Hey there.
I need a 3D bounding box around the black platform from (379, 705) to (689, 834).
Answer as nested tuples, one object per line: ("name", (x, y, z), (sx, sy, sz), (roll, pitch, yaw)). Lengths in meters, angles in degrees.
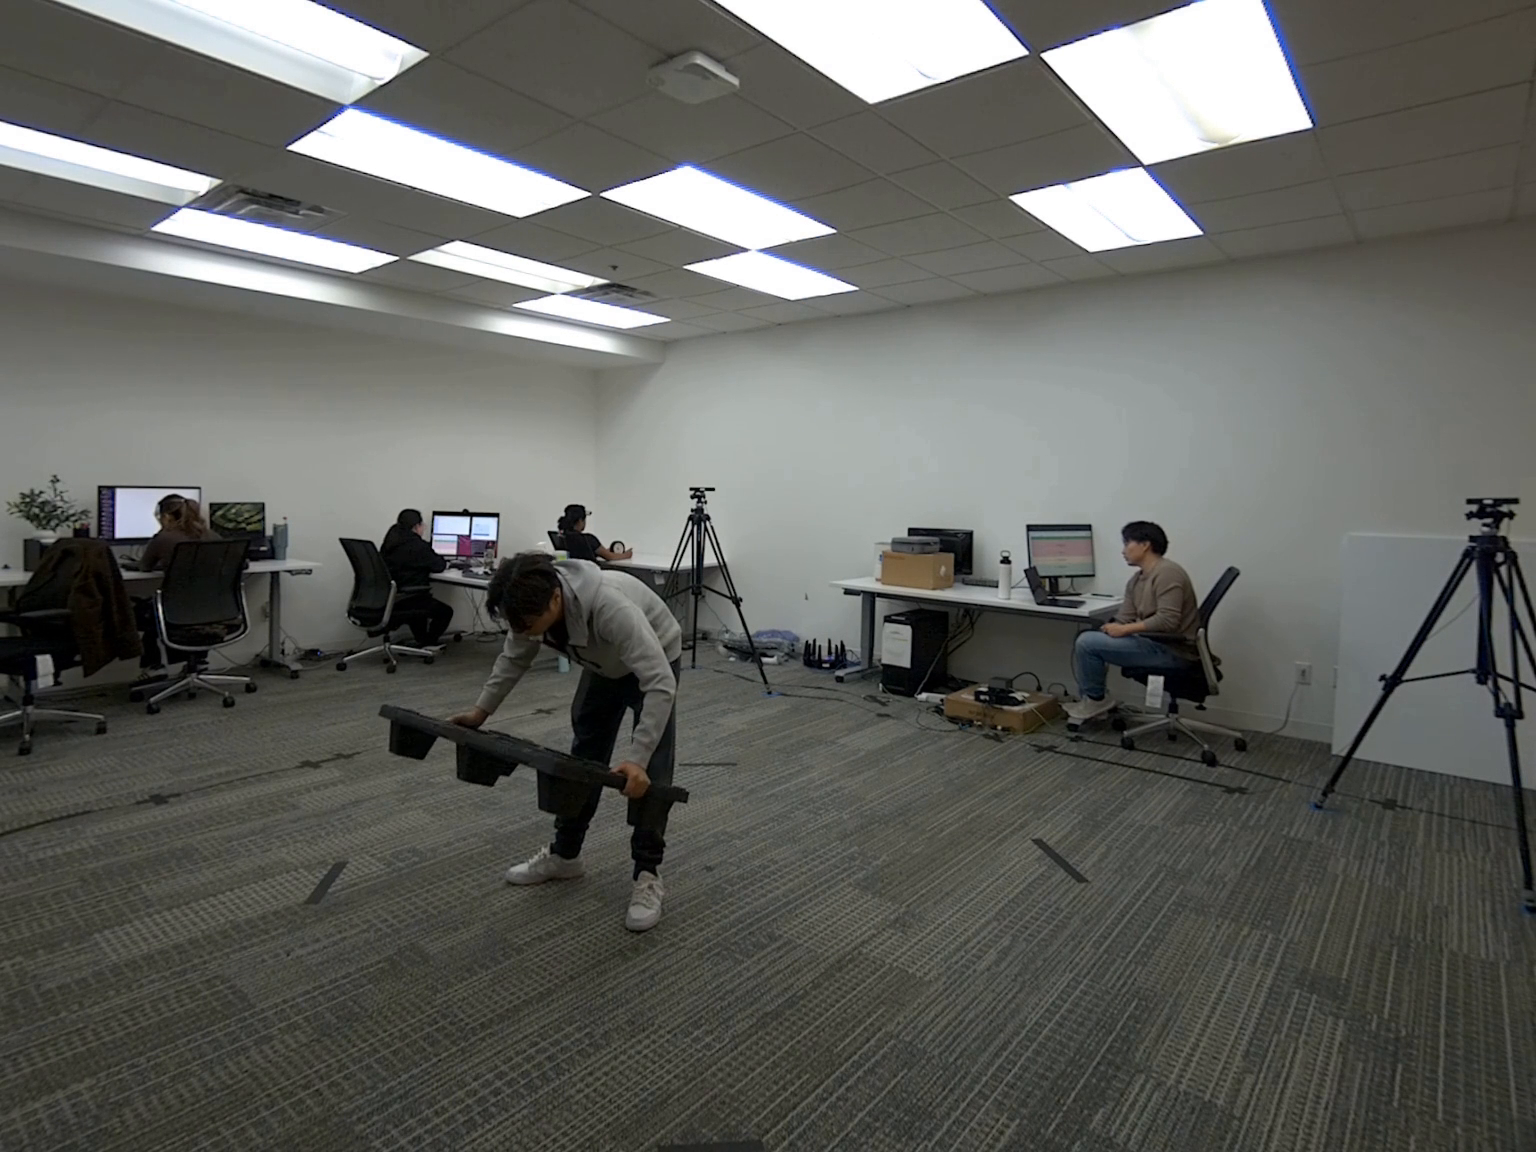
("black platform", (-0.741, 0.583, 2.574), (0.832, 0.144, 0.580), (6, -17, 35))
